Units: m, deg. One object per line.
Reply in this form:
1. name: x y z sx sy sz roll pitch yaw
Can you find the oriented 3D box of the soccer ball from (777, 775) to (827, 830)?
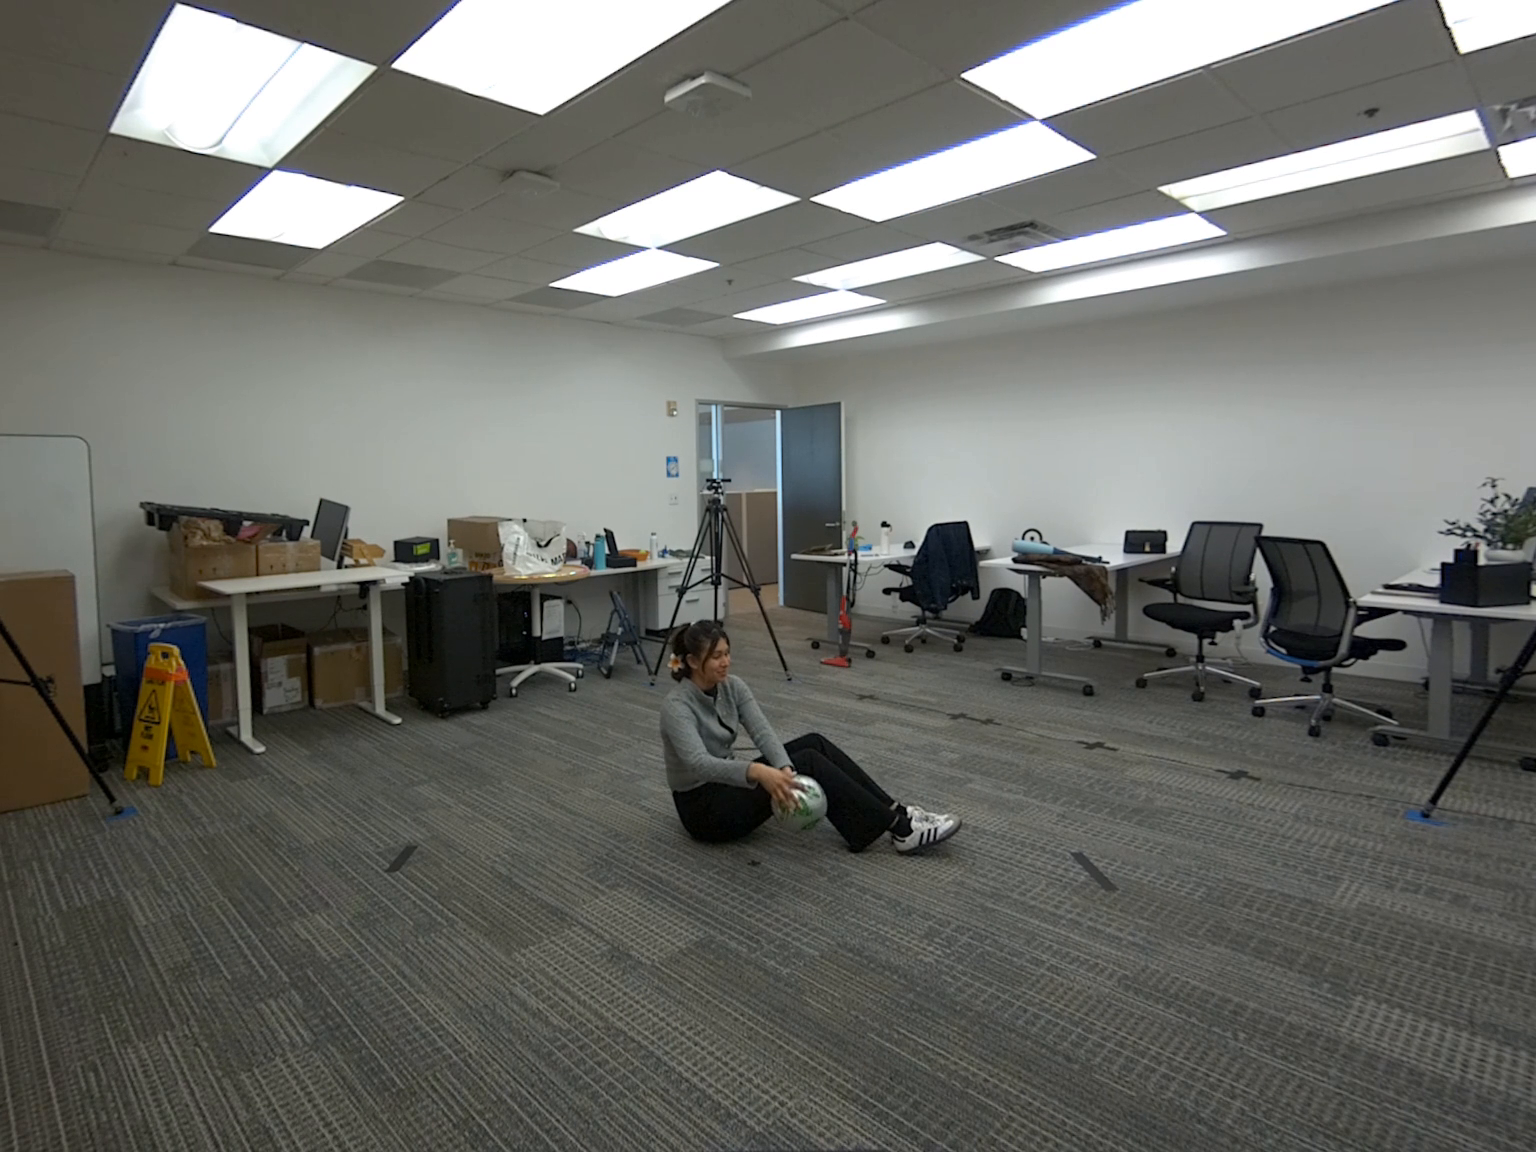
1. soccer ball: 0.098 0.757 2.876 0.187 0.187 0.188 -1 5 -2
